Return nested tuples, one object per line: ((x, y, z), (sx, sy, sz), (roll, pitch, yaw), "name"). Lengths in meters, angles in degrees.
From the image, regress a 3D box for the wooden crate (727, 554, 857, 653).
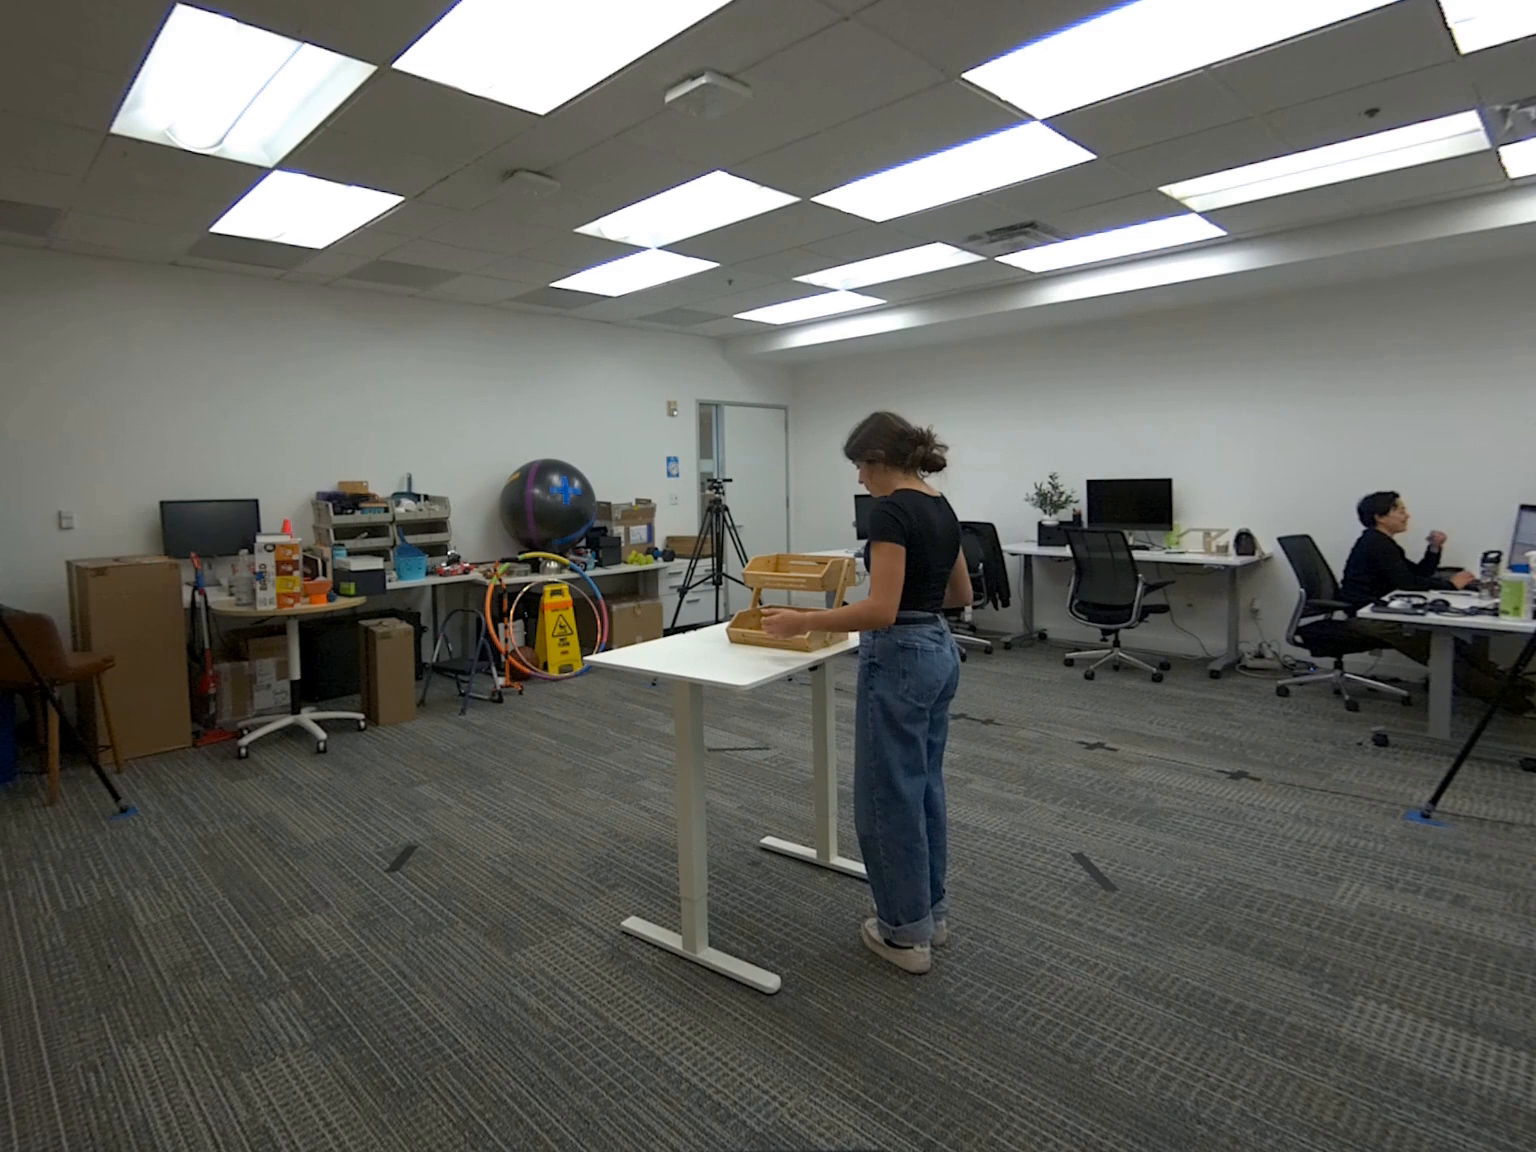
((0.077, 0.072, 2.708), (0.334, 0.272, 0.295), (2, 6, 36), "wooden crate")
